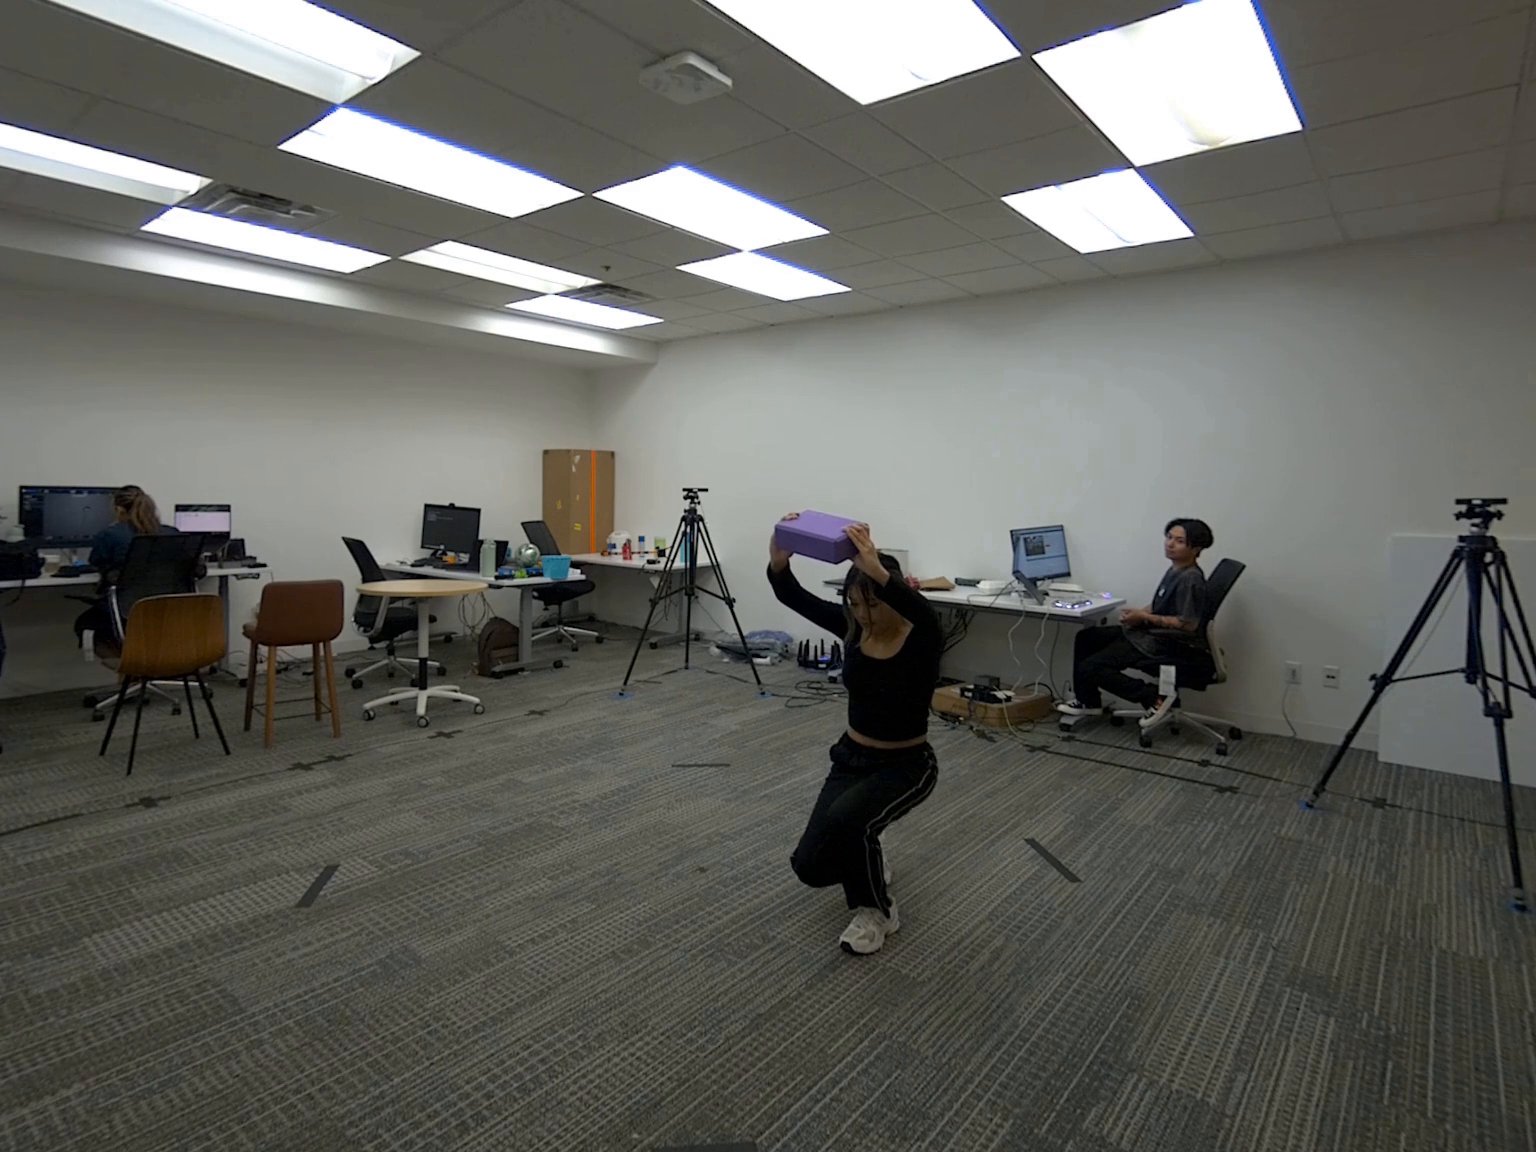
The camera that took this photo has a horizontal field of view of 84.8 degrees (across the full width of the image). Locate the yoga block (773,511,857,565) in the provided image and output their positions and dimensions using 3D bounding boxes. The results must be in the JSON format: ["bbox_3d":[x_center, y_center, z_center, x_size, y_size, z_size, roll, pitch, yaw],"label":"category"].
[{"bbox_3d":[0.137,-0.114,2.342,0.238,0.075,0.147,17,33,43],"label":"yoga block"}]
